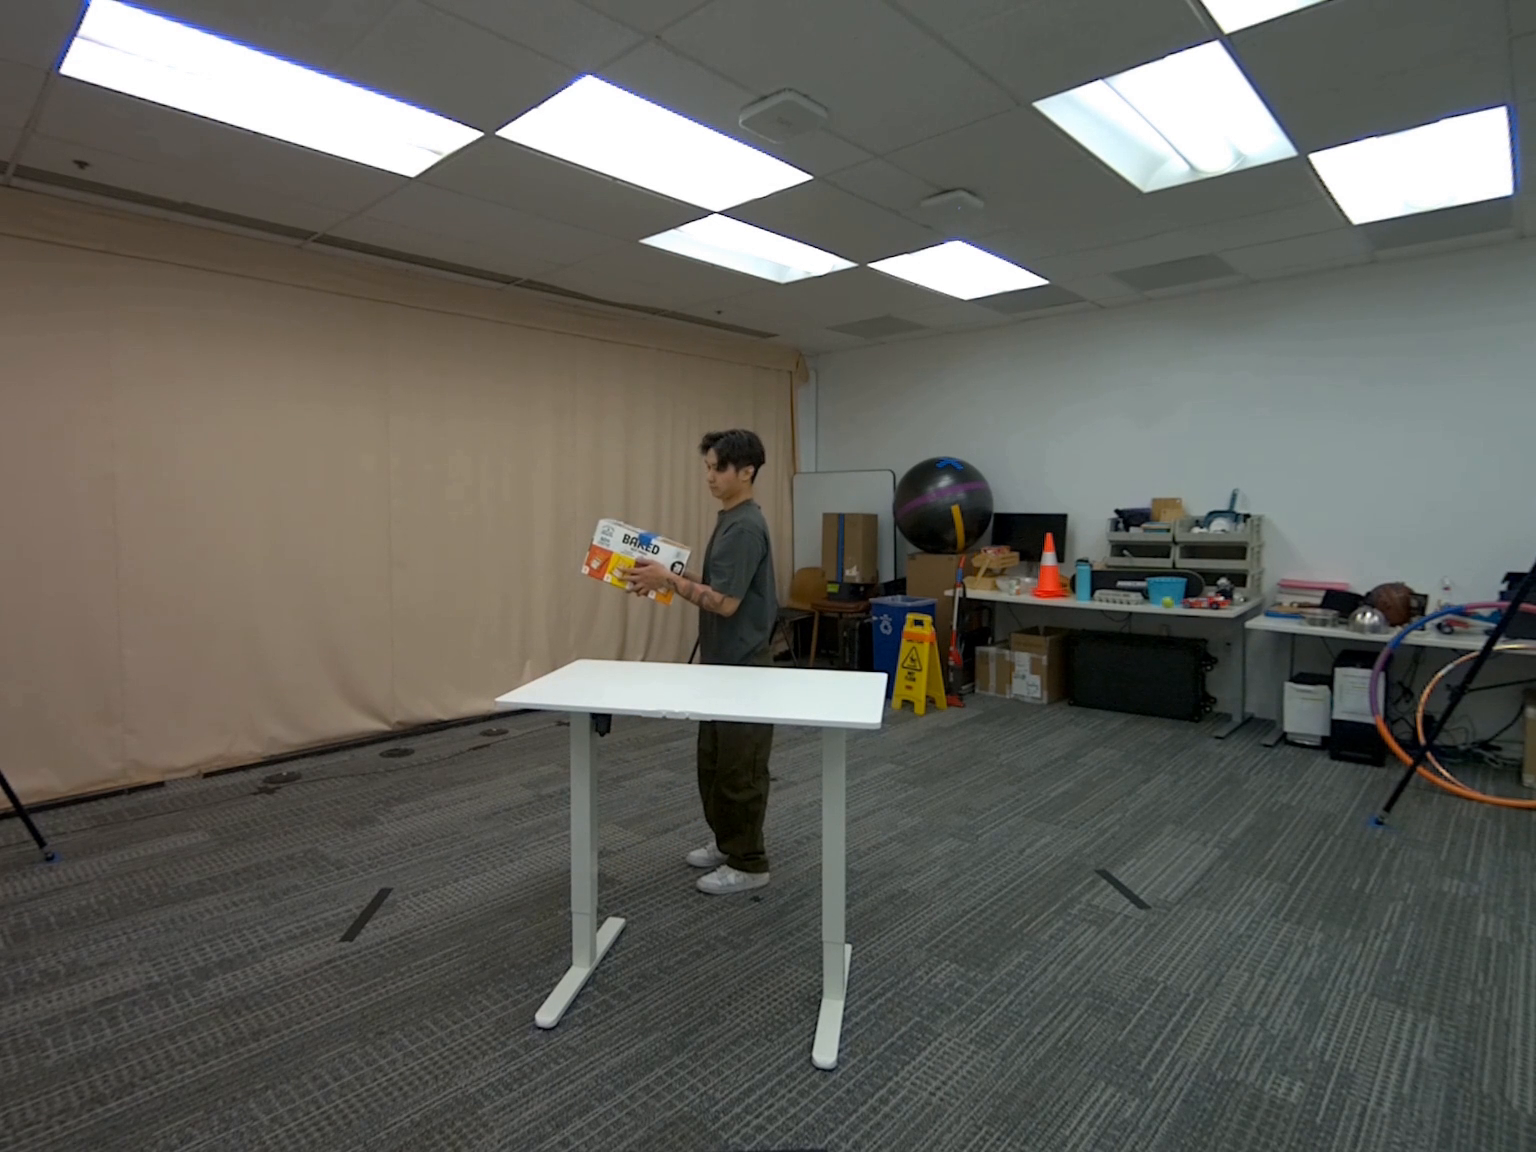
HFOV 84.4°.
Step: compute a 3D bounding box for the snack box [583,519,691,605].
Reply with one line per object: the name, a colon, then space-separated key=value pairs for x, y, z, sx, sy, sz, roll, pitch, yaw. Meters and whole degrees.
snack box: x=-0.481 y=-0.062 z=3.166 sx=0.339 sy=0.205 sz=0.407 roll=21 pitch=2 yaw=-4
